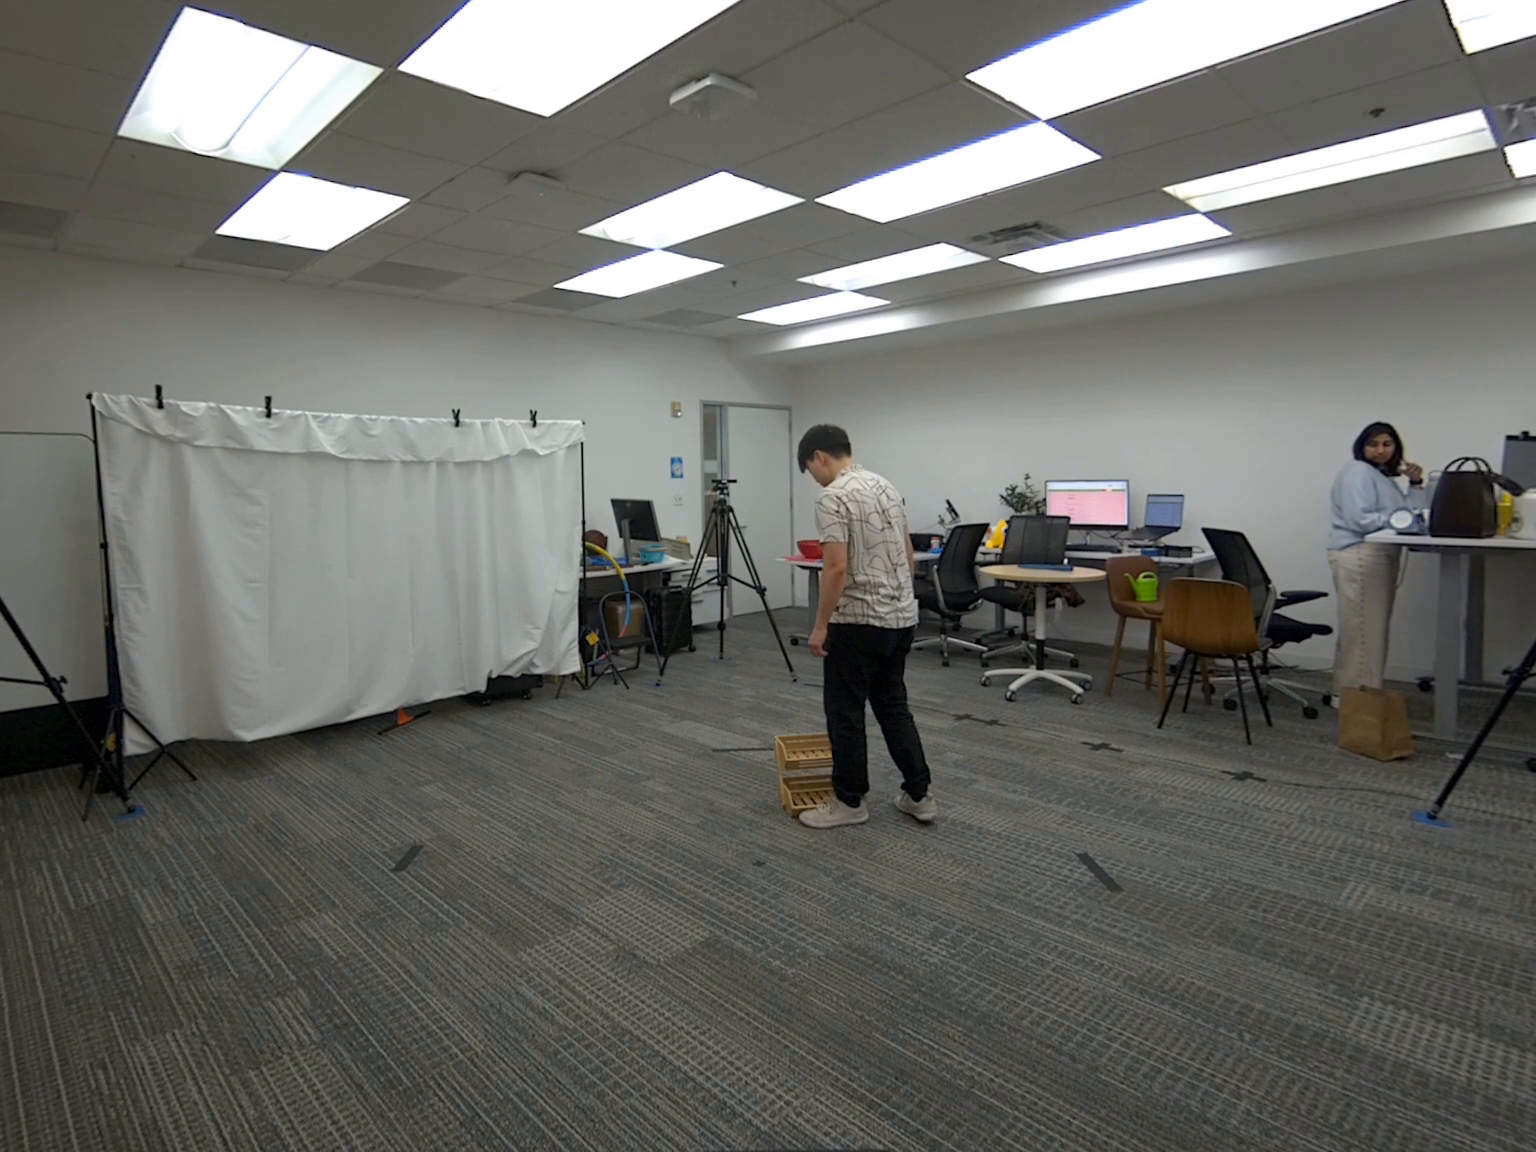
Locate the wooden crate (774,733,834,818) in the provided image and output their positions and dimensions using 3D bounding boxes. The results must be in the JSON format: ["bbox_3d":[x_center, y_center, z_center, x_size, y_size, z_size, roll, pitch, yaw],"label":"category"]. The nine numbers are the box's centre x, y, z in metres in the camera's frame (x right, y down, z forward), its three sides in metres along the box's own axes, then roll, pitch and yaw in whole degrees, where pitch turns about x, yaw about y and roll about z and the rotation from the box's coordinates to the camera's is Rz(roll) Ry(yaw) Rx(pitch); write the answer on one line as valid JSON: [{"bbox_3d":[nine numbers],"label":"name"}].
[{"bbox_3d":[0.213,0.846,3.668,0.321,0.272,0.306,-2,5,-13],"label":"wooden crate"}]
